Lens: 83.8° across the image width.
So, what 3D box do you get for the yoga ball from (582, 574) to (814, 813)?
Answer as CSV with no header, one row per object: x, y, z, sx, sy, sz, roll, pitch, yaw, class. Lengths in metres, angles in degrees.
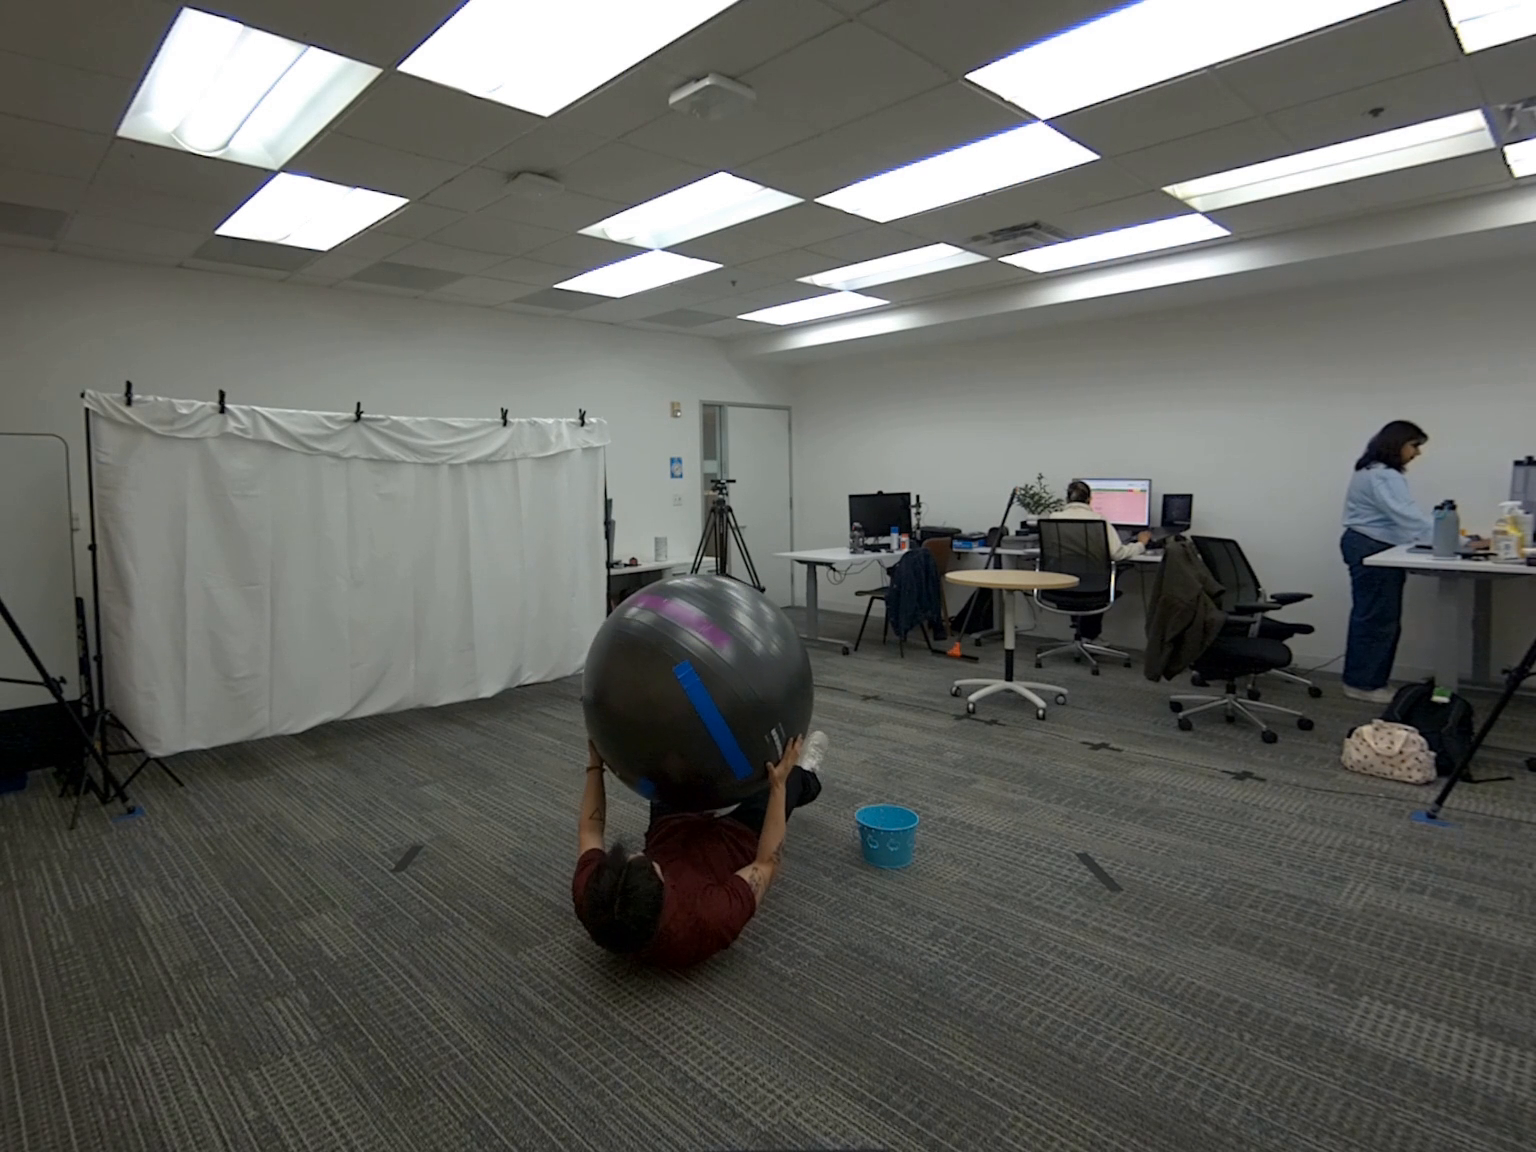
-0.227,0.374,2.812,0.757,0.755,0.762,-1,5,-2,yoga ball
